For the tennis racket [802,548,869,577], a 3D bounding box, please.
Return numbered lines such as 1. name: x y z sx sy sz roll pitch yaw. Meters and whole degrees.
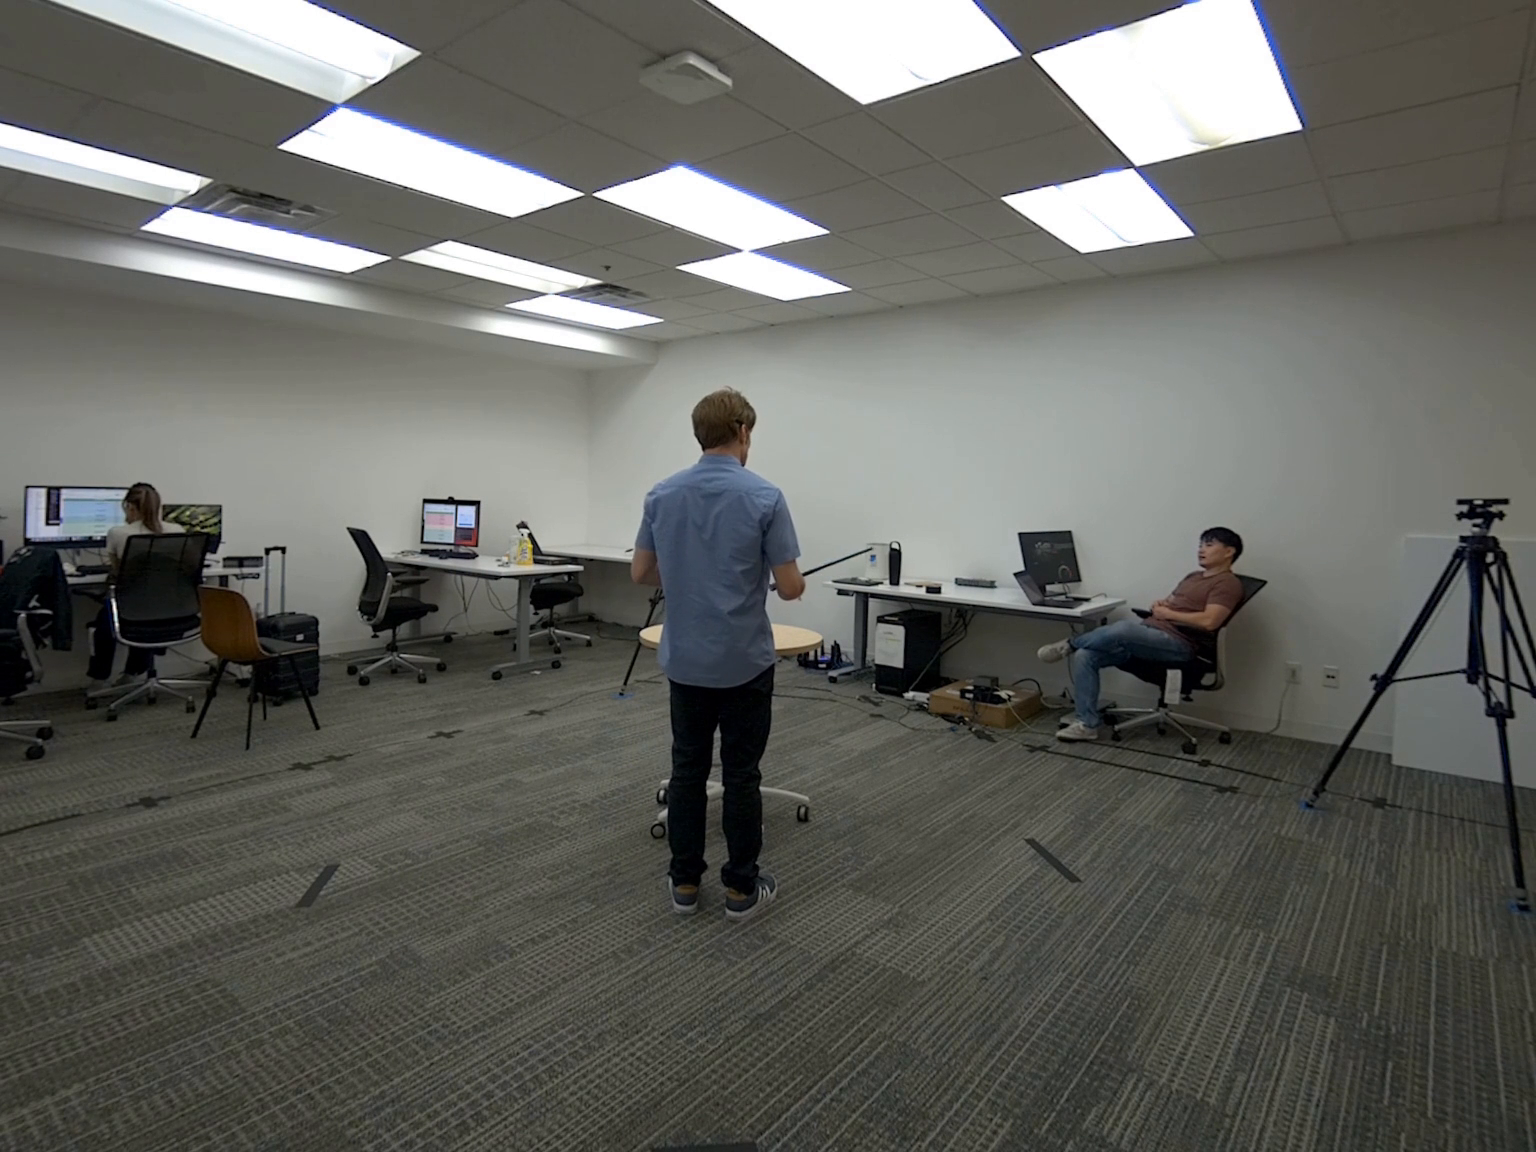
1. tennis racket: 0.163 -0.038 3.109 0.427 0.032 0.216 -20 0 -22
